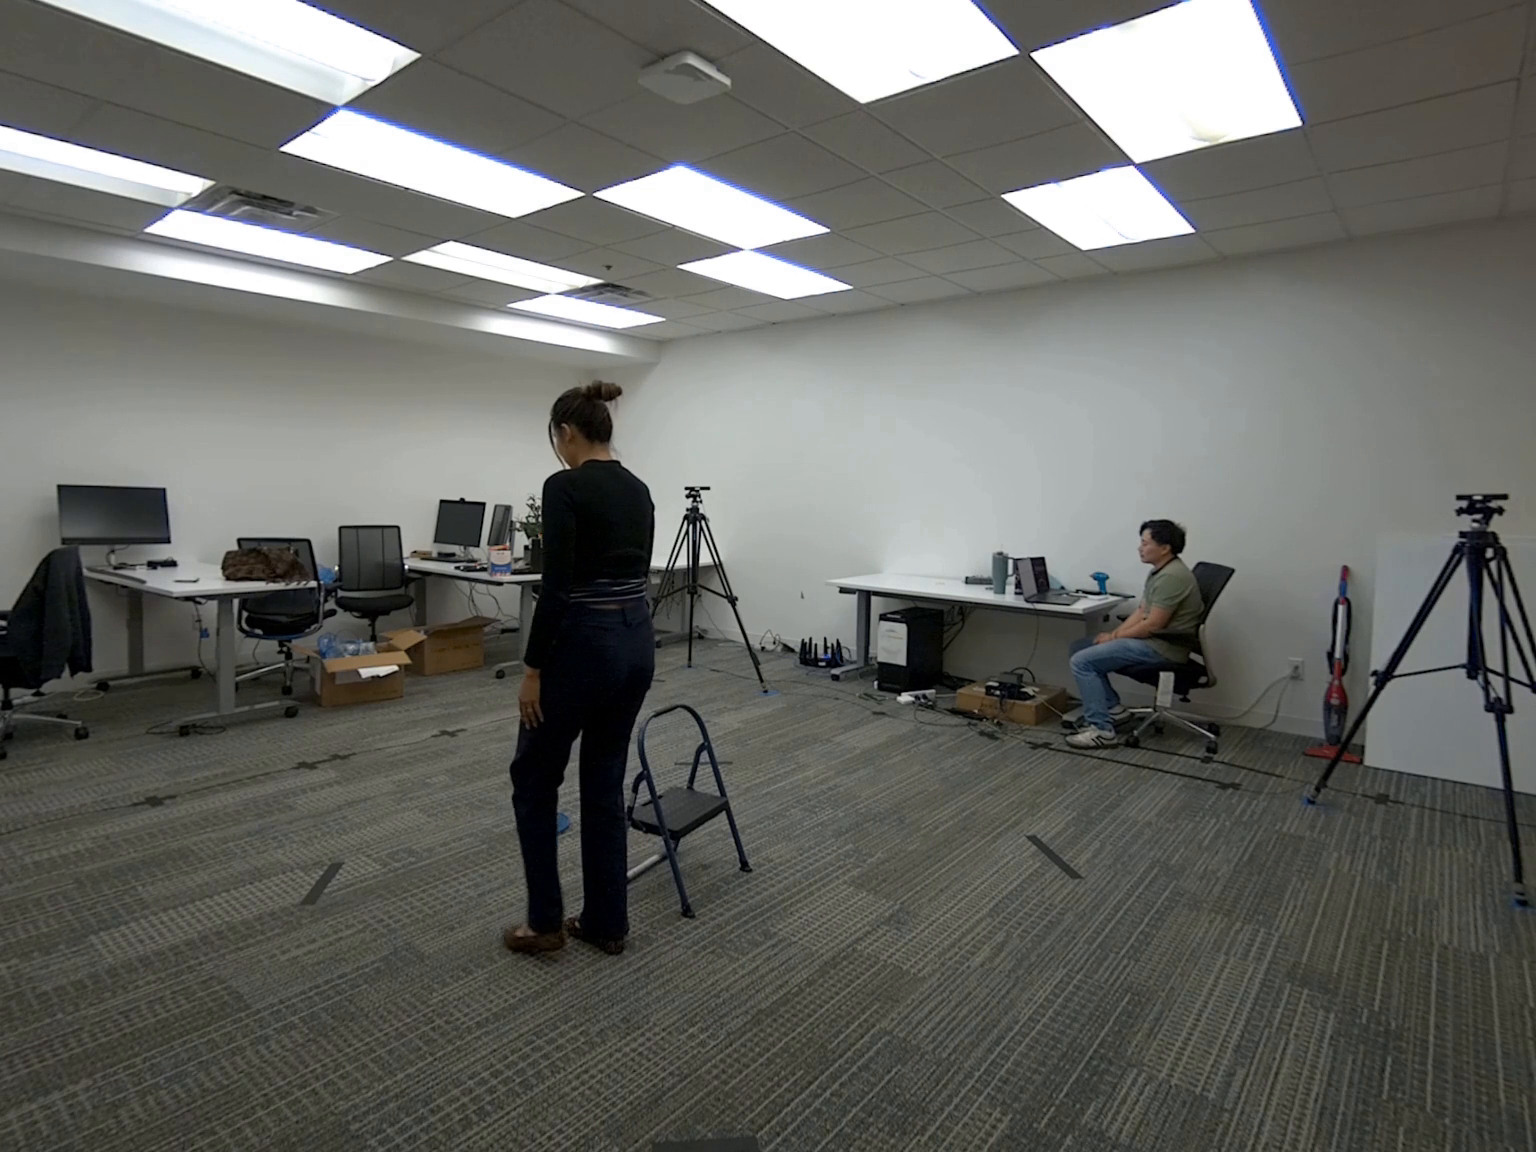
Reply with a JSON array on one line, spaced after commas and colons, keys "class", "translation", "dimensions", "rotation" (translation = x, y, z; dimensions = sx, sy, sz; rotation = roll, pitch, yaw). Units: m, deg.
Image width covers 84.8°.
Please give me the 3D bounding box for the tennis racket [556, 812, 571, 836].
[{"class": "tennis racket", "translation": [-0.908, 1.011, 3.397], "dimensions": [0.211, 0.031, 0.439], "rotation": [0, 4, -12]}]
